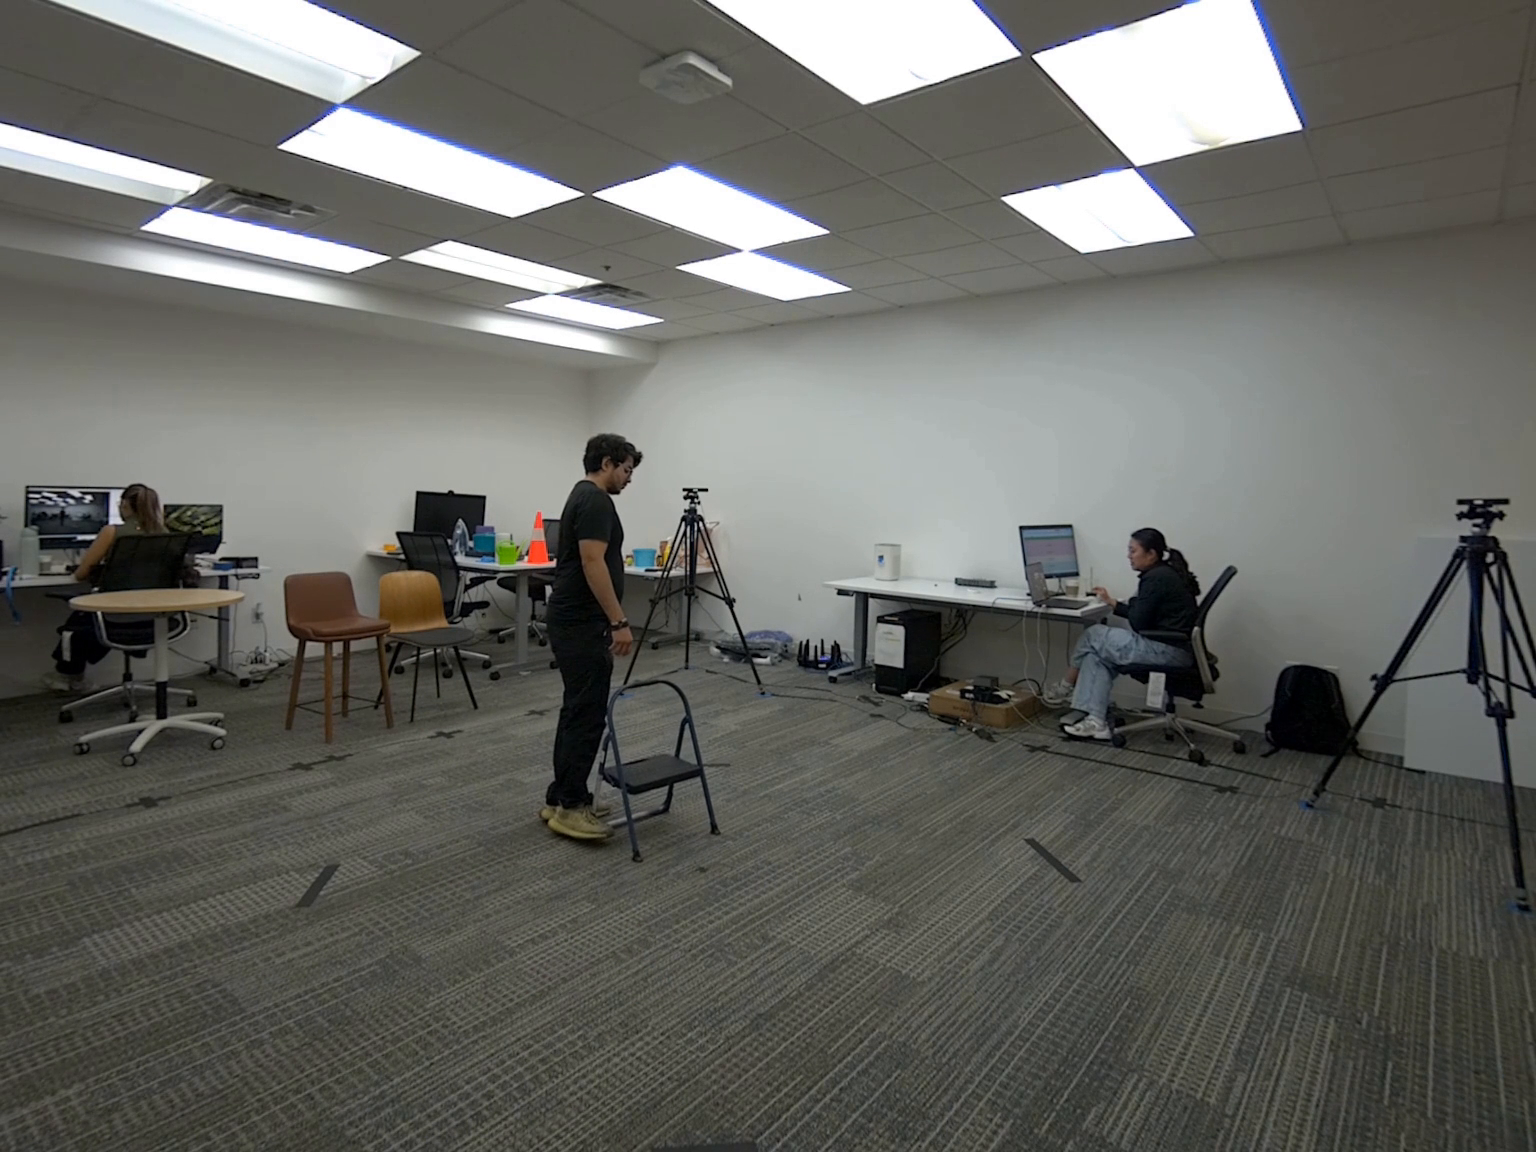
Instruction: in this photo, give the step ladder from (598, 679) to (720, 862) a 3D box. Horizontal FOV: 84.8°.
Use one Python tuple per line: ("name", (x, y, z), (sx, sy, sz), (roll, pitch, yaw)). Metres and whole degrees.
("step ladder", (-0.464, 0.733, 3.408), (0.417, 0.605, 0.361), (-2, 4, -44))
